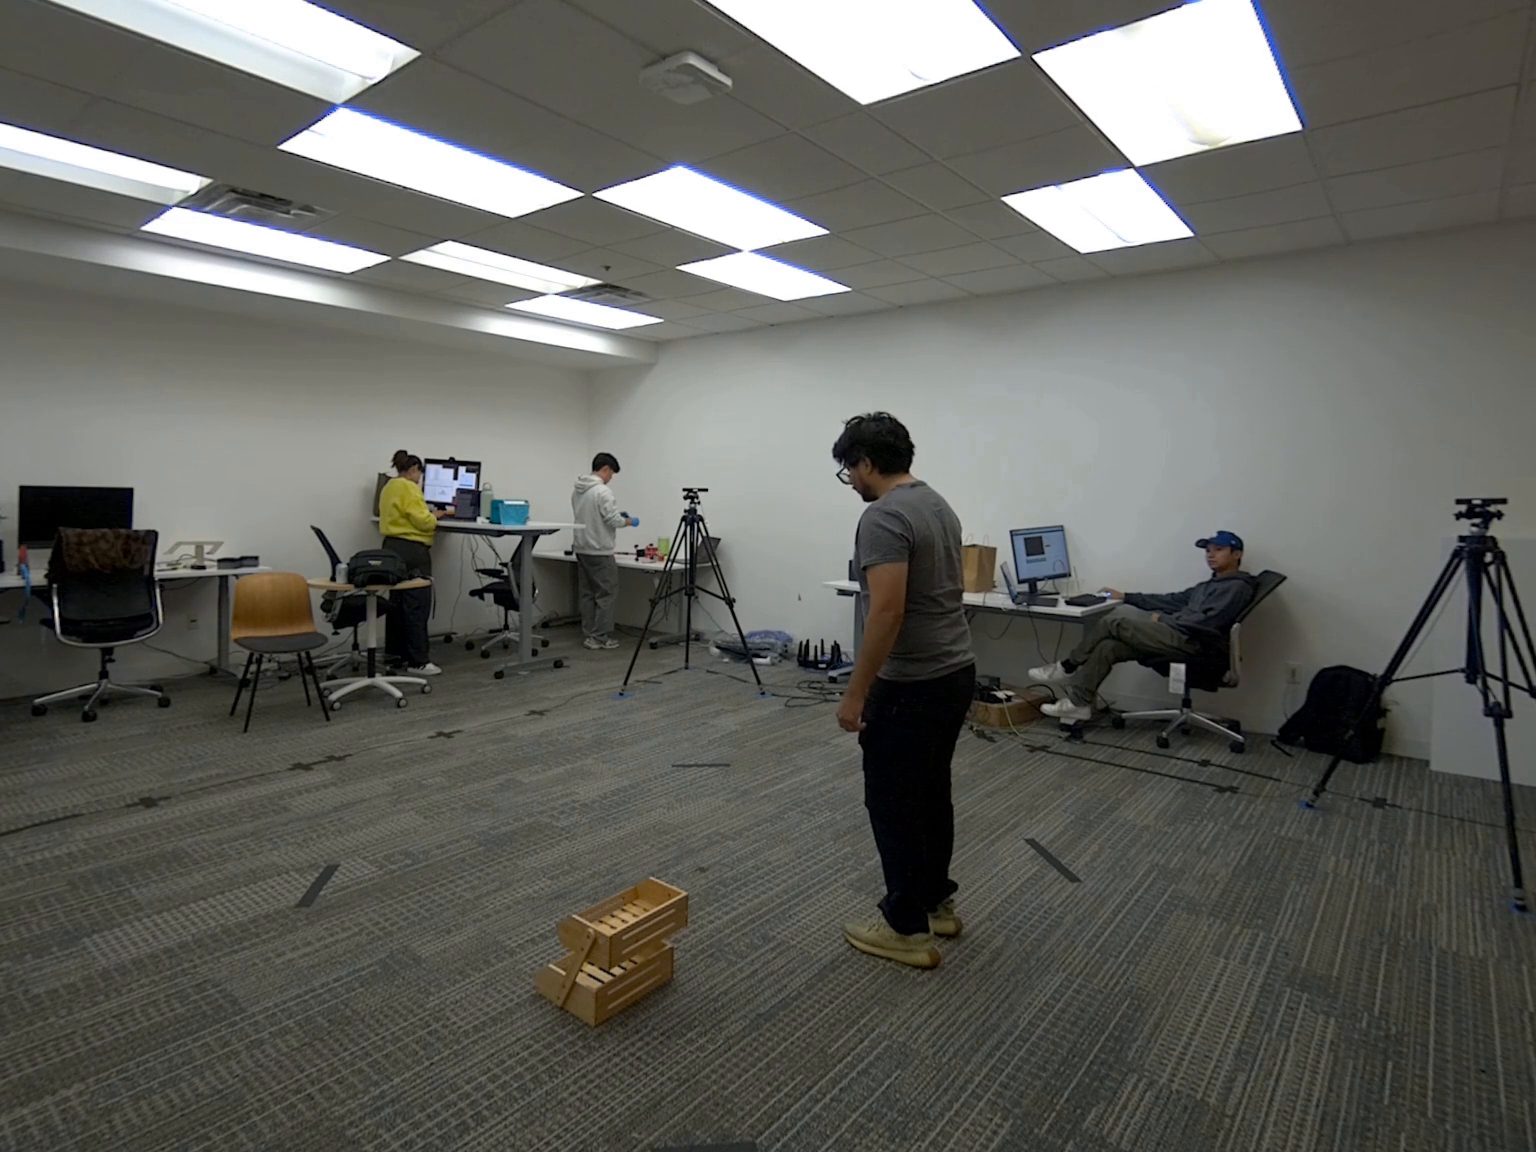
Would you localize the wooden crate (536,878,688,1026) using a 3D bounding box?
[{"bbox_3d":[-0.443,1.009,2.357,0.312,0.272,0.315,5,6,38],"label":"wooden crate"}]
